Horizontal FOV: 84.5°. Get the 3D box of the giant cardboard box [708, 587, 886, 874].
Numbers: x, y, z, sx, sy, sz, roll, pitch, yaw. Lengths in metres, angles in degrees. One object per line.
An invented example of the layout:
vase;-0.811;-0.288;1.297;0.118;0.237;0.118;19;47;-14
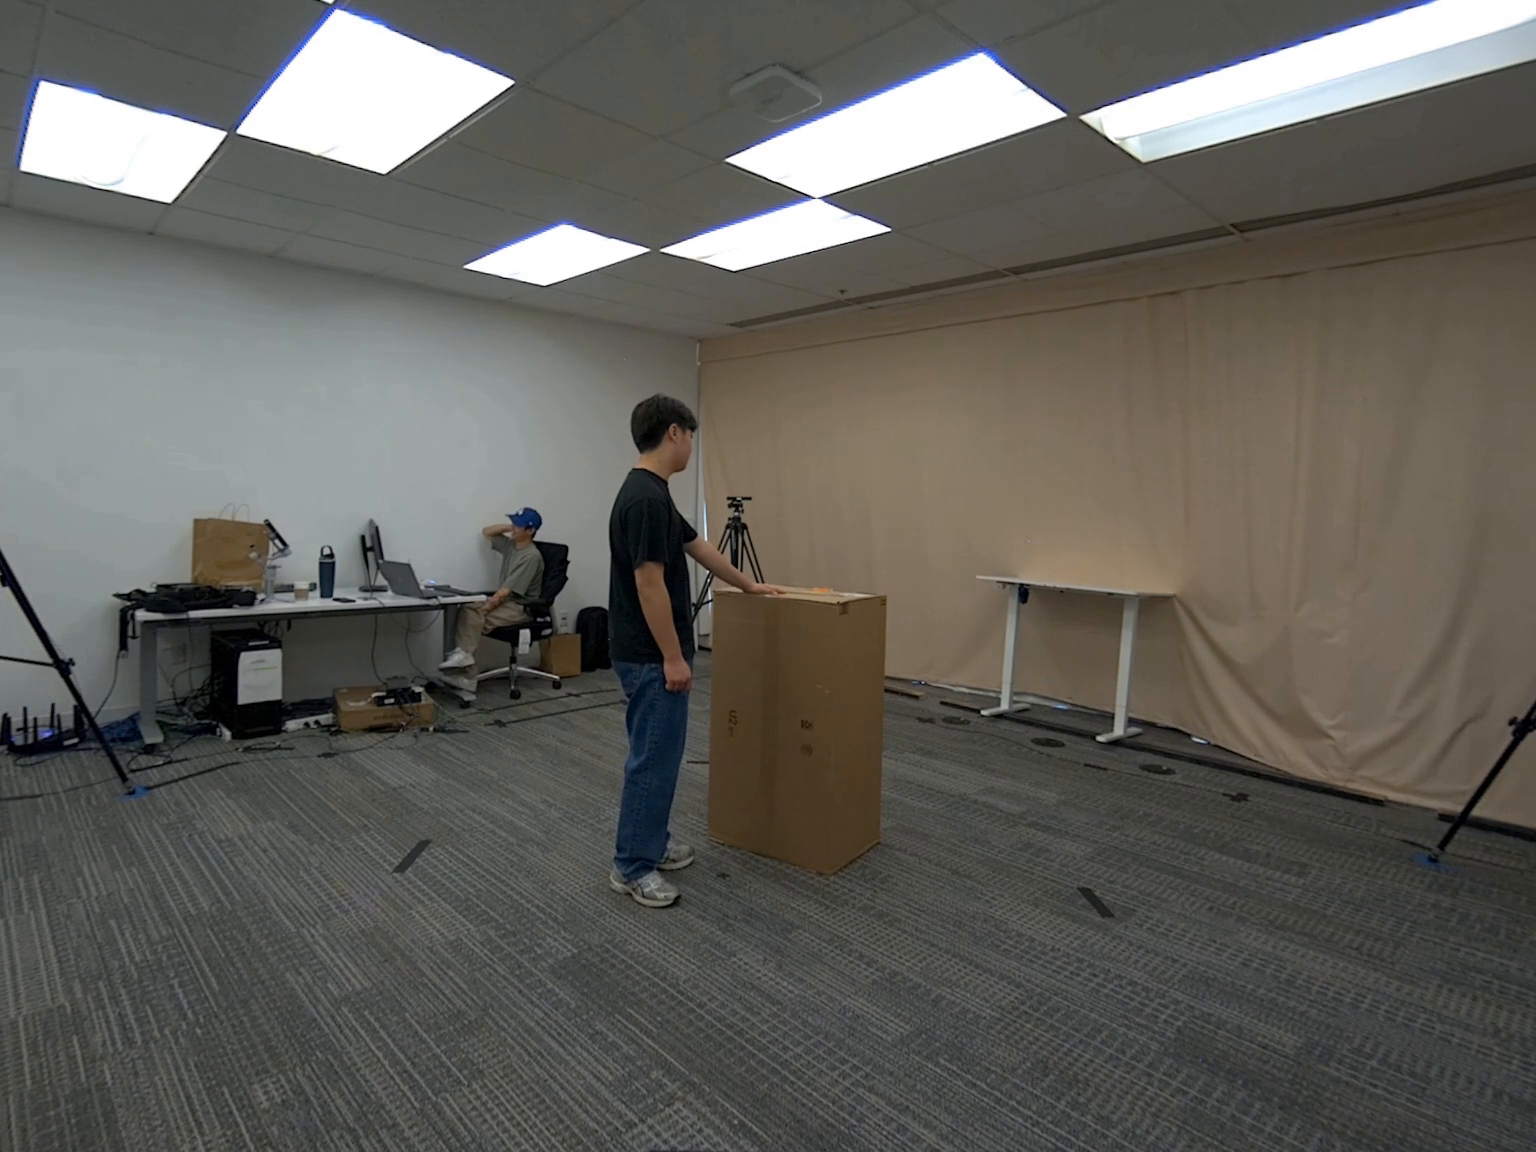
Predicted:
giant cardboard box;0.116;0.572;3.432;0.598;1.025;0.437;4;3;36
